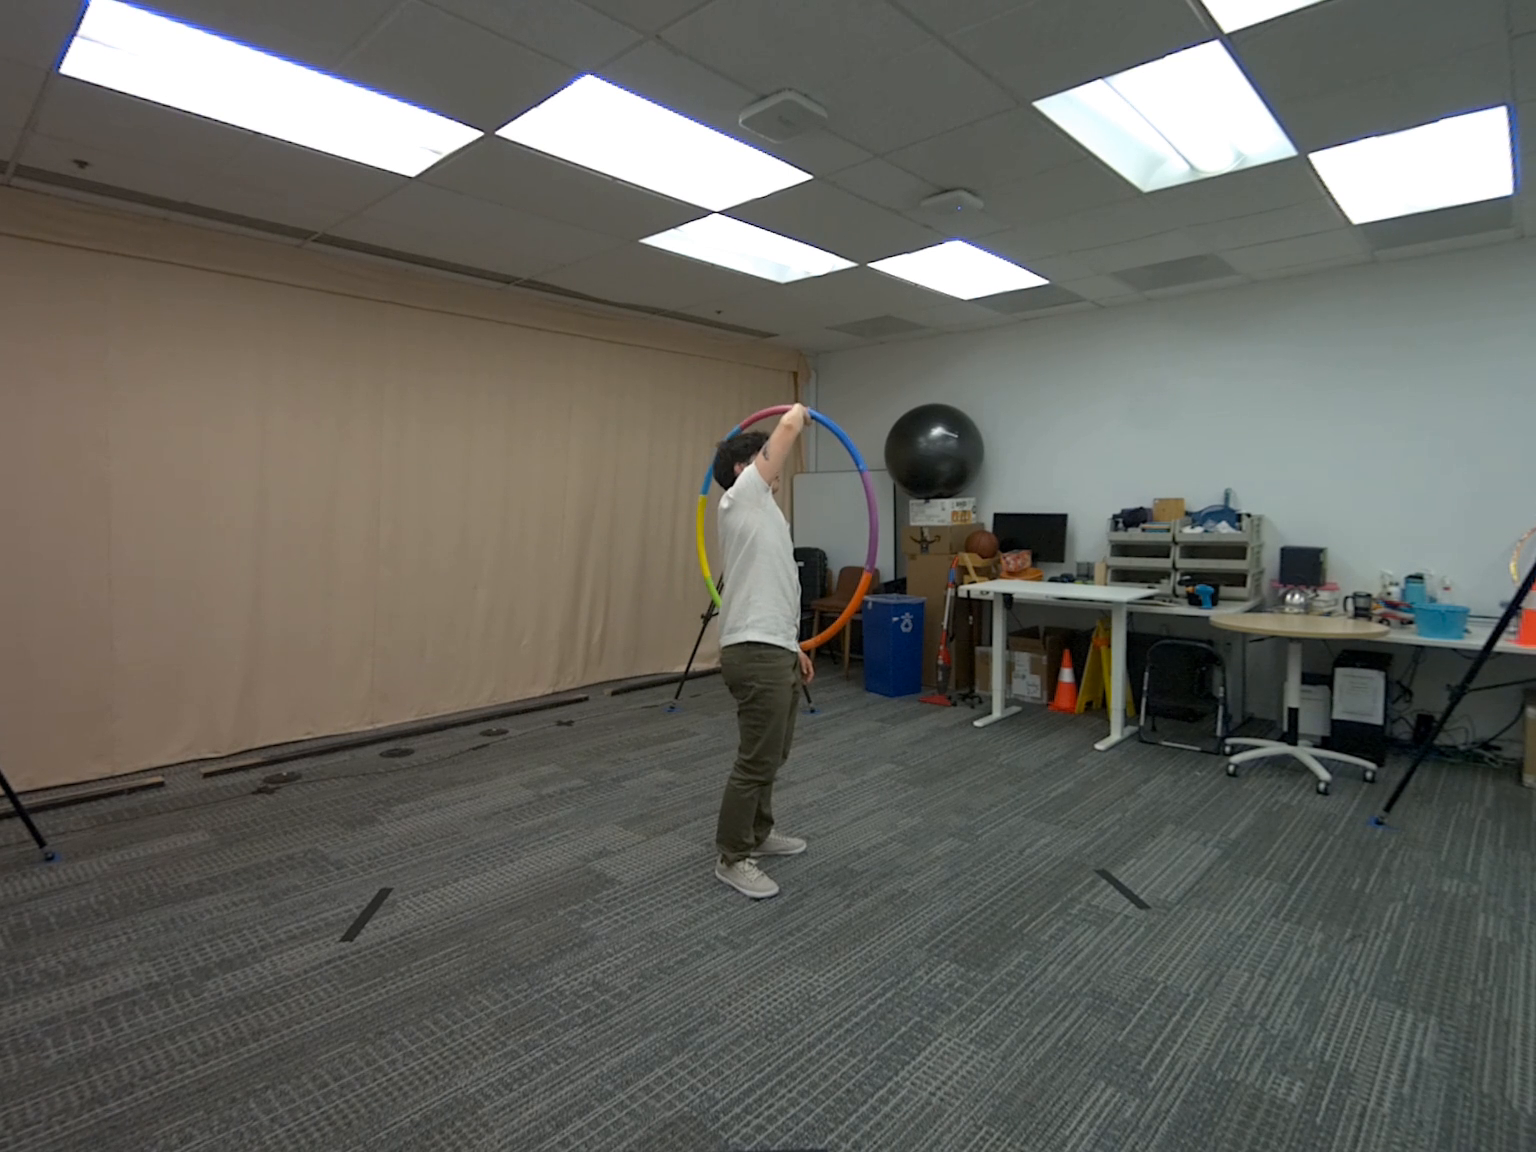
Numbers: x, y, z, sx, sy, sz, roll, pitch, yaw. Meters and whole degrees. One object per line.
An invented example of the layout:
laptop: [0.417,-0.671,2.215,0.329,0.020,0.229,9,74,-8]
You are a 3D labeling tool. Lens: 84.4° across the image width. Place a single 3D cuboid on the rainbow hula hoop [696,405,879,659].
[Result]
rainbow hula hoop: [0.045,-0.183,3.402,1.011,0.977,0.034,4,3,44]
